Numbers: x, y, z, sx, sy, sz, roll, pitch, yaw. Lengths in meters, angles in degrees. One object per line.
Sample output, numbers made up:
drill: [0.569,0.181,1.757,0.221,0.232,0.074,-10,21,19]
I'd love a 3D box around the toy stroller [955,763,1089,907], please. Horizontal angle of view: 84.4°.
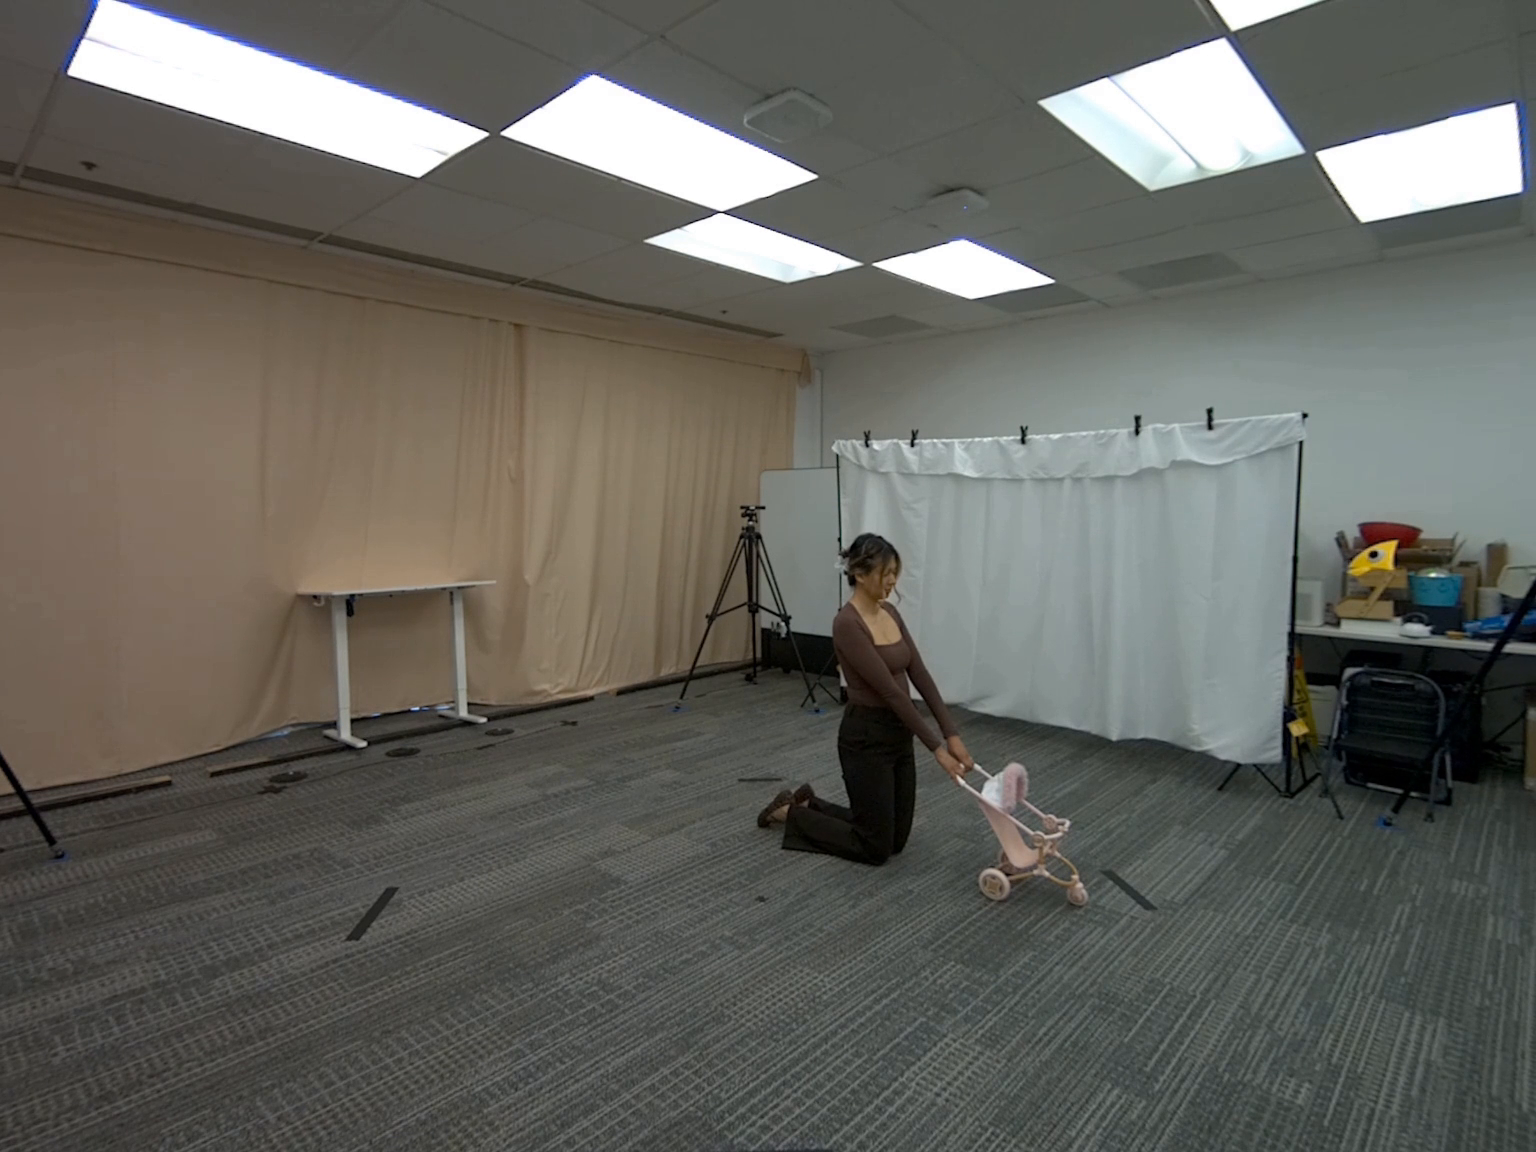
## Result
toy stroller: [0.916,0.915,3.027,0.349,0.539,0.273,-20,-9,36]
